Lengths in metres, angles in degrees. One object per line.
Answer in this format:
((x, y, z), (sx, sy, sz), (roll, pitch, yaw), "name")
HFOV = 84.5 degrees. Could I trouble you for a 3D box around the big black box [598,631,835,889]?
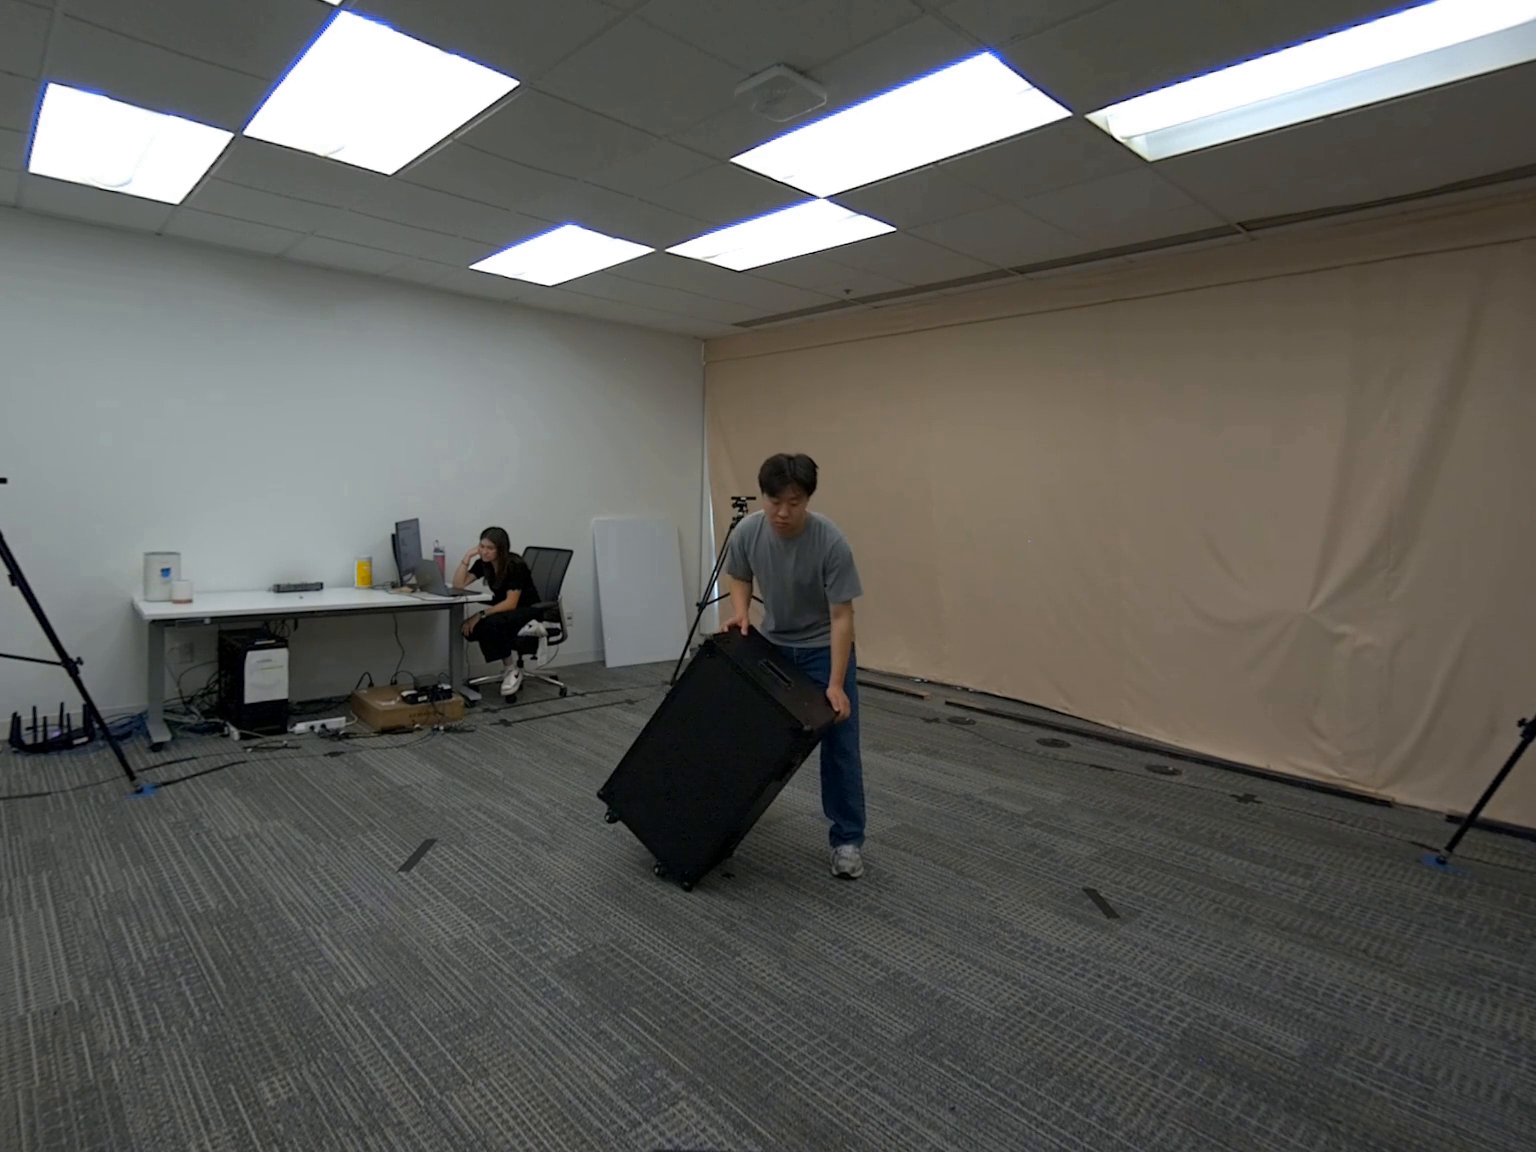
((-0.208, 0.675, 3.104), (0.532, 0.859, 0.389), (41, 18, 18), "big black box")
